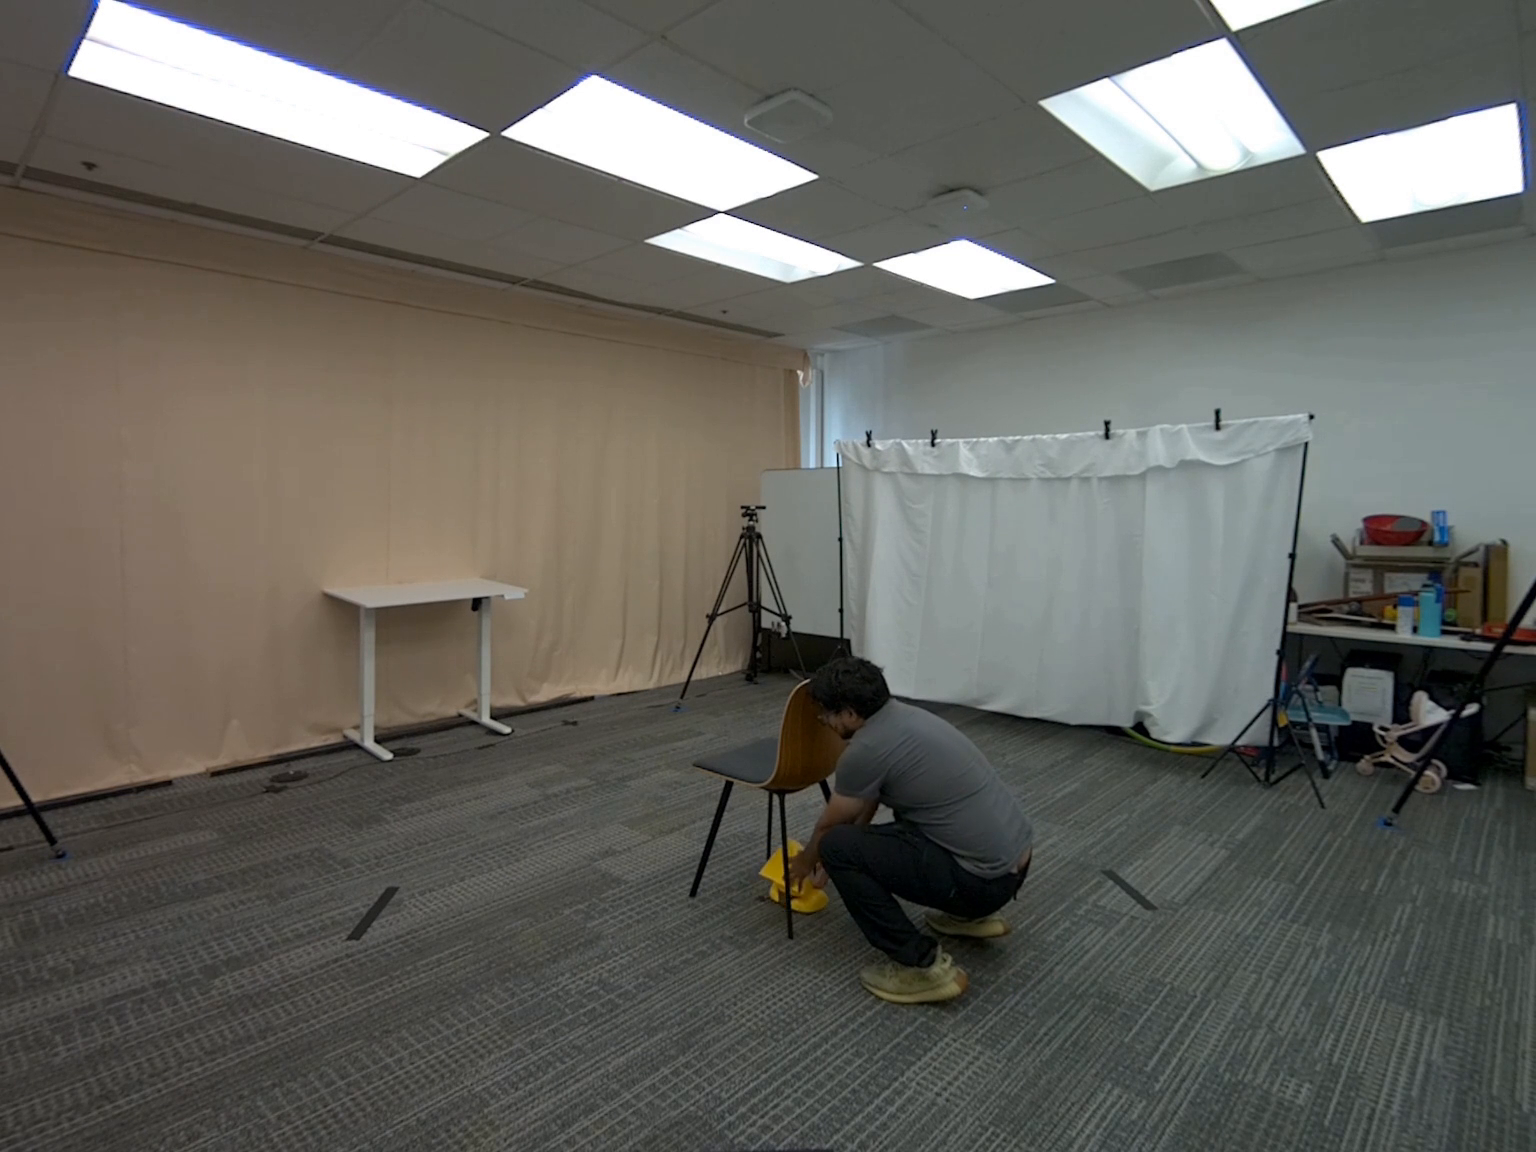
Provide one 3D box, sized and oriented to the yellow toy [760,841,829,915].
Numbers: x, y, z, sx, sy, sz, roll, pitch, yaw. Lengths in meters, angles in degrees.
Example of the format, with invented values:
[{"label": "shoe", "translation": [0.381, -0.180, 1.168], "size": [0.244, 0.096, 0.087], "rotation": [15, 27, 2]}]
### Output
[{"label": "yellow toy", "translation": [0.113, 1.028, 2.954], "size": [0.187, 0.230, 0.212], "rotation": [0, 3, -43]}]
